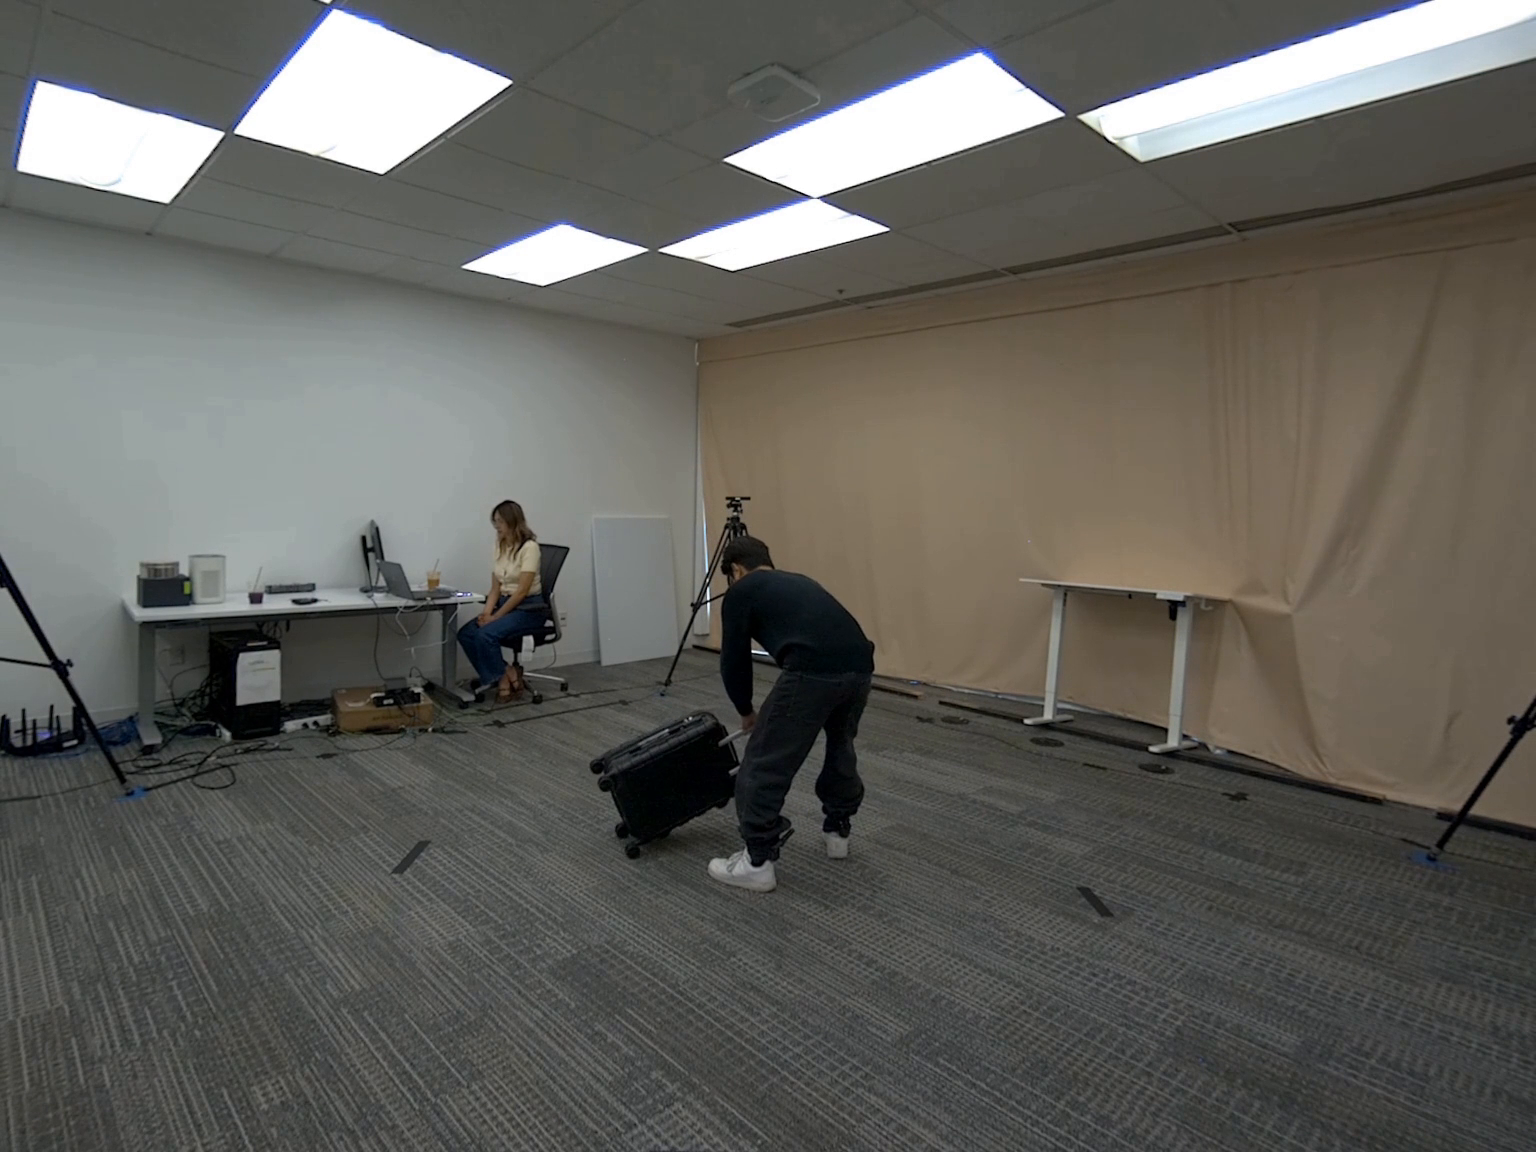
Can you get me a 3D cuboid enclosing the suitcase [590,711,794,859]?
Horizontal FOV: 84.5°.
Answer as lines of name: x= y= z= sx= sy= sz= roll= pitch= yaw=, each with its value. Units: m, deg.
suitcase: x=-0.224 y=0.715 z=3.444 sx=0.971 sy=0.380 sz=0.261 roll=-24 pitch=10 yaw=-18
